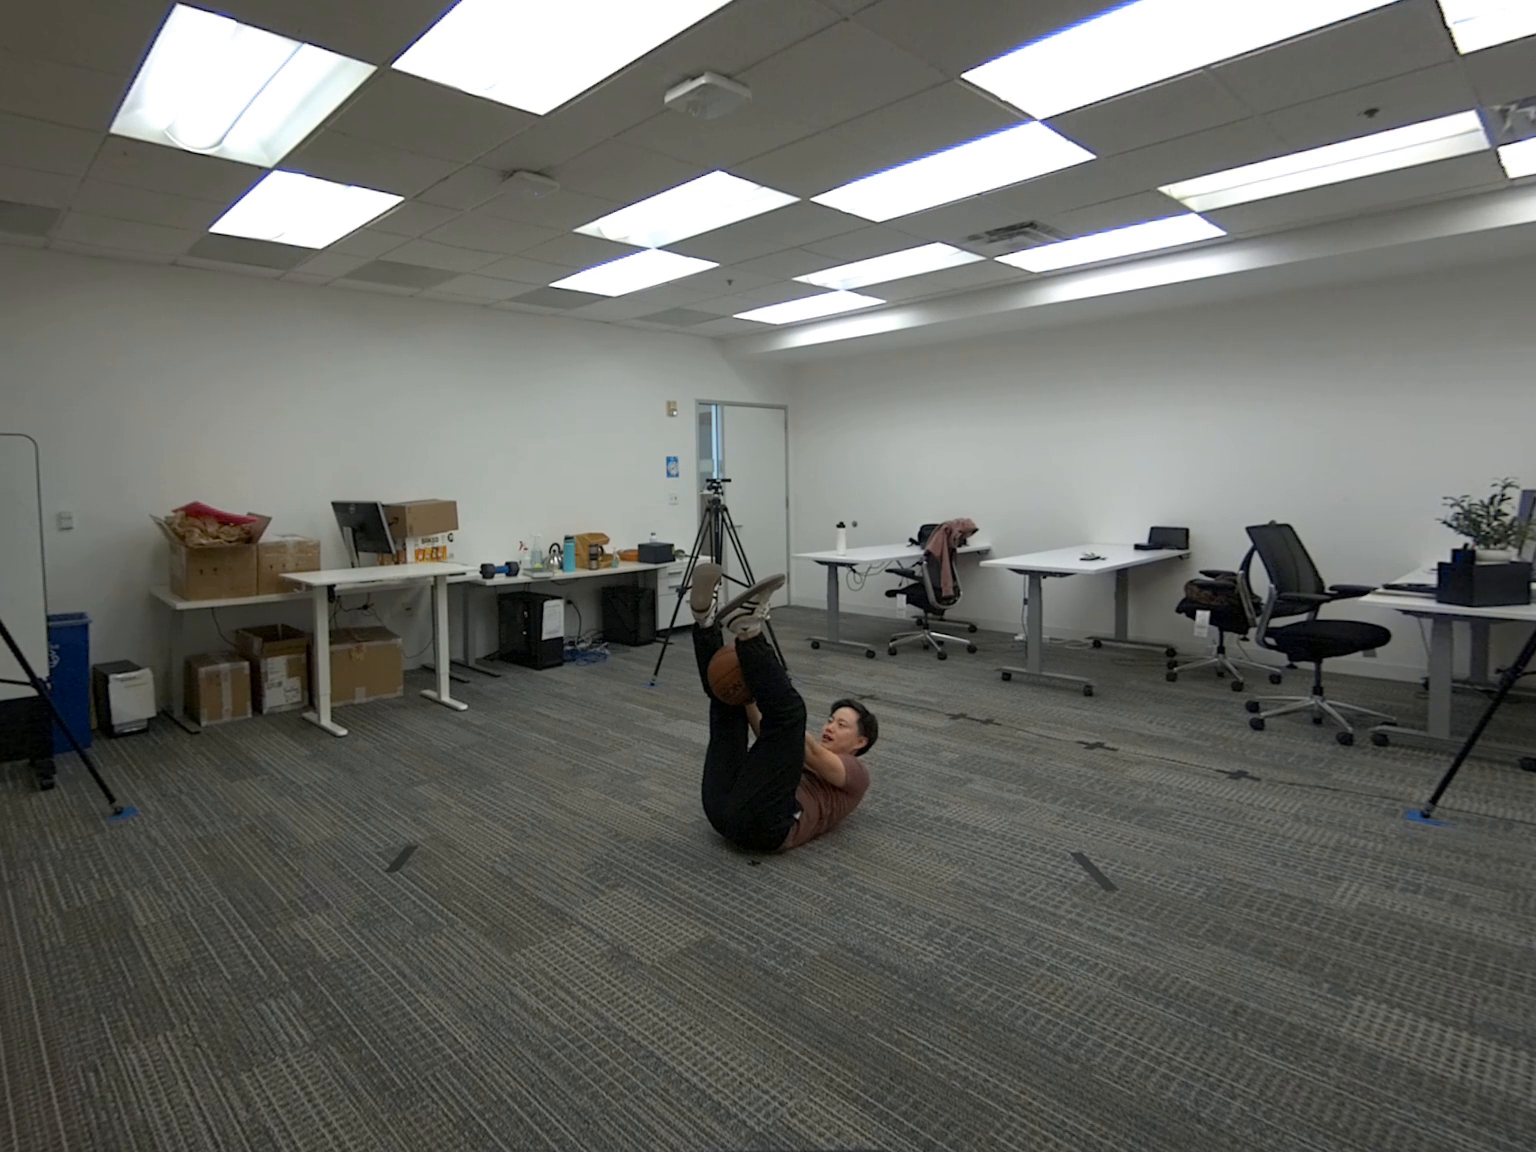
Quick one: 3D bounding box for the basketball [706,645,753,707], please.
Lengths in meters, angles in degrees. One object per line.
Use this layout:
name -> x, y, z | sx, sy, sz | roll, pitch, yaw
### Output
basketball -> -0.109, 0.370, 3.190 | 0.236, 0.235, 0.237 | -2, 5, -2
